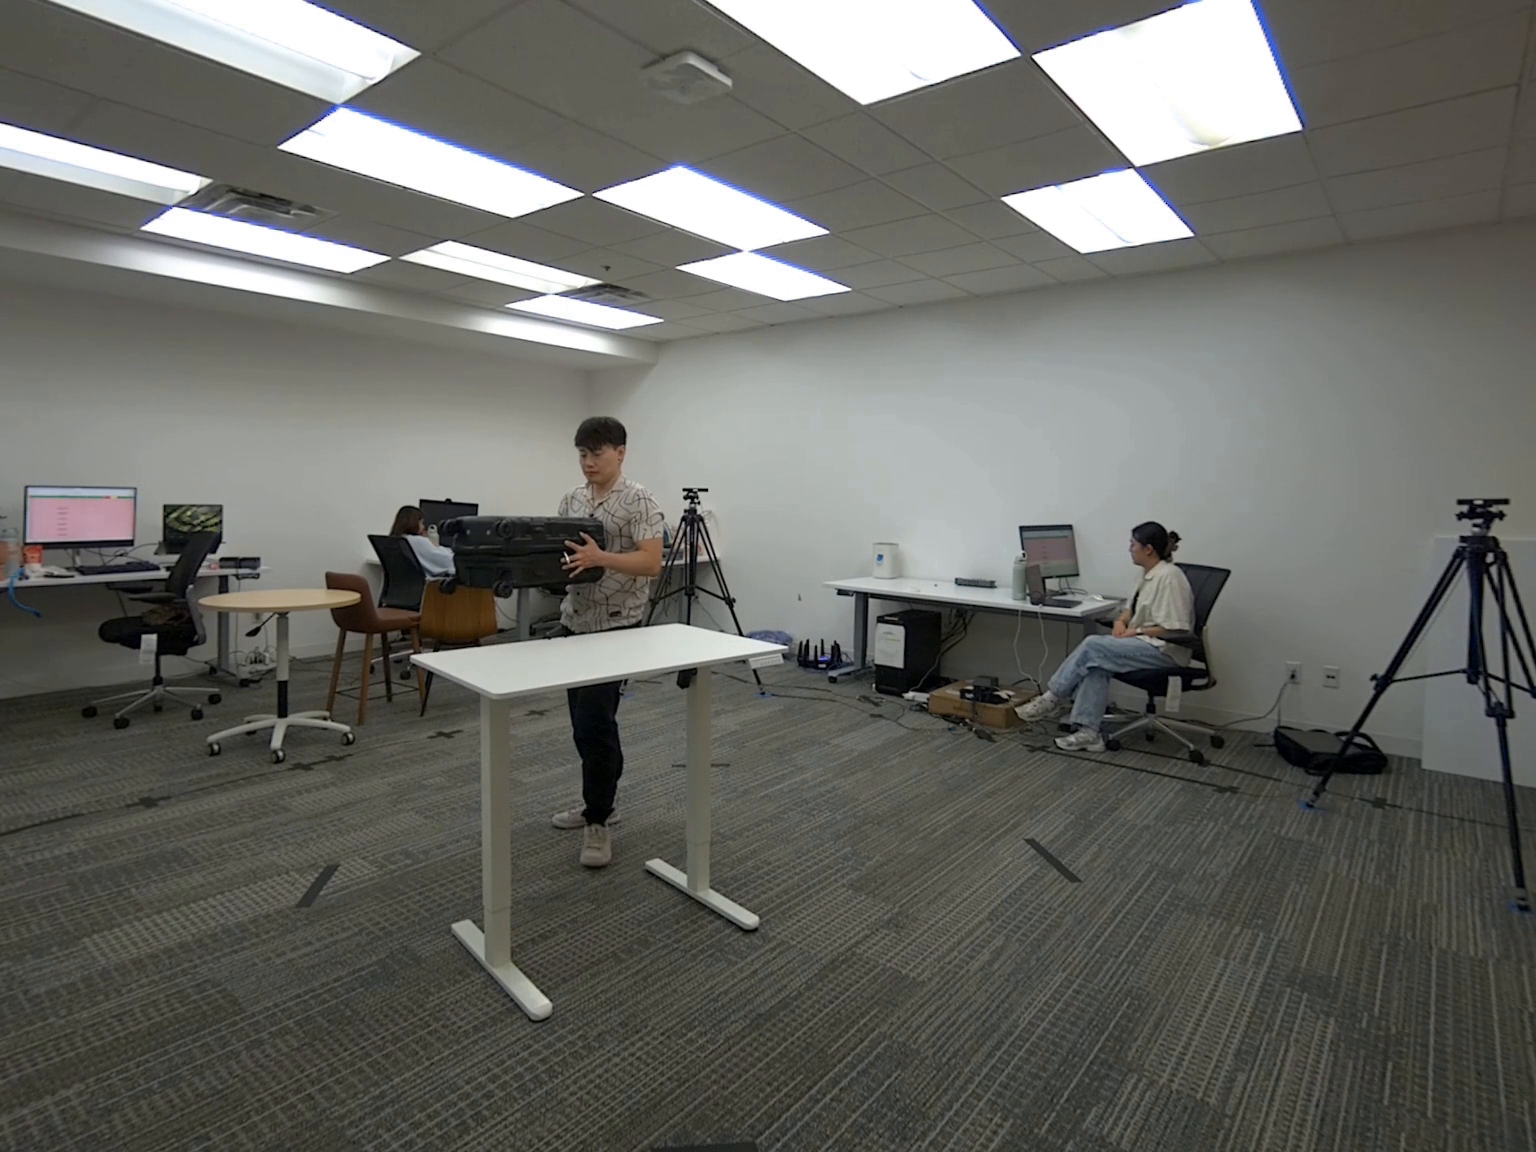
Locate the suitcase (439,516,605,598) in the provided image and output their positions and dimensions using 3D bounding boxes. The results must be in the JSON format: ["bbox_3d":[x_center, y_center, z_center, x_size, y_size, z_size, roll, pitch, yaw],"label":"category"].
[{"bbox_3d":[-0.903,-0.094,3.128,0.386,0.248,0.535,2,4,31],"label":"suitcase"}]
